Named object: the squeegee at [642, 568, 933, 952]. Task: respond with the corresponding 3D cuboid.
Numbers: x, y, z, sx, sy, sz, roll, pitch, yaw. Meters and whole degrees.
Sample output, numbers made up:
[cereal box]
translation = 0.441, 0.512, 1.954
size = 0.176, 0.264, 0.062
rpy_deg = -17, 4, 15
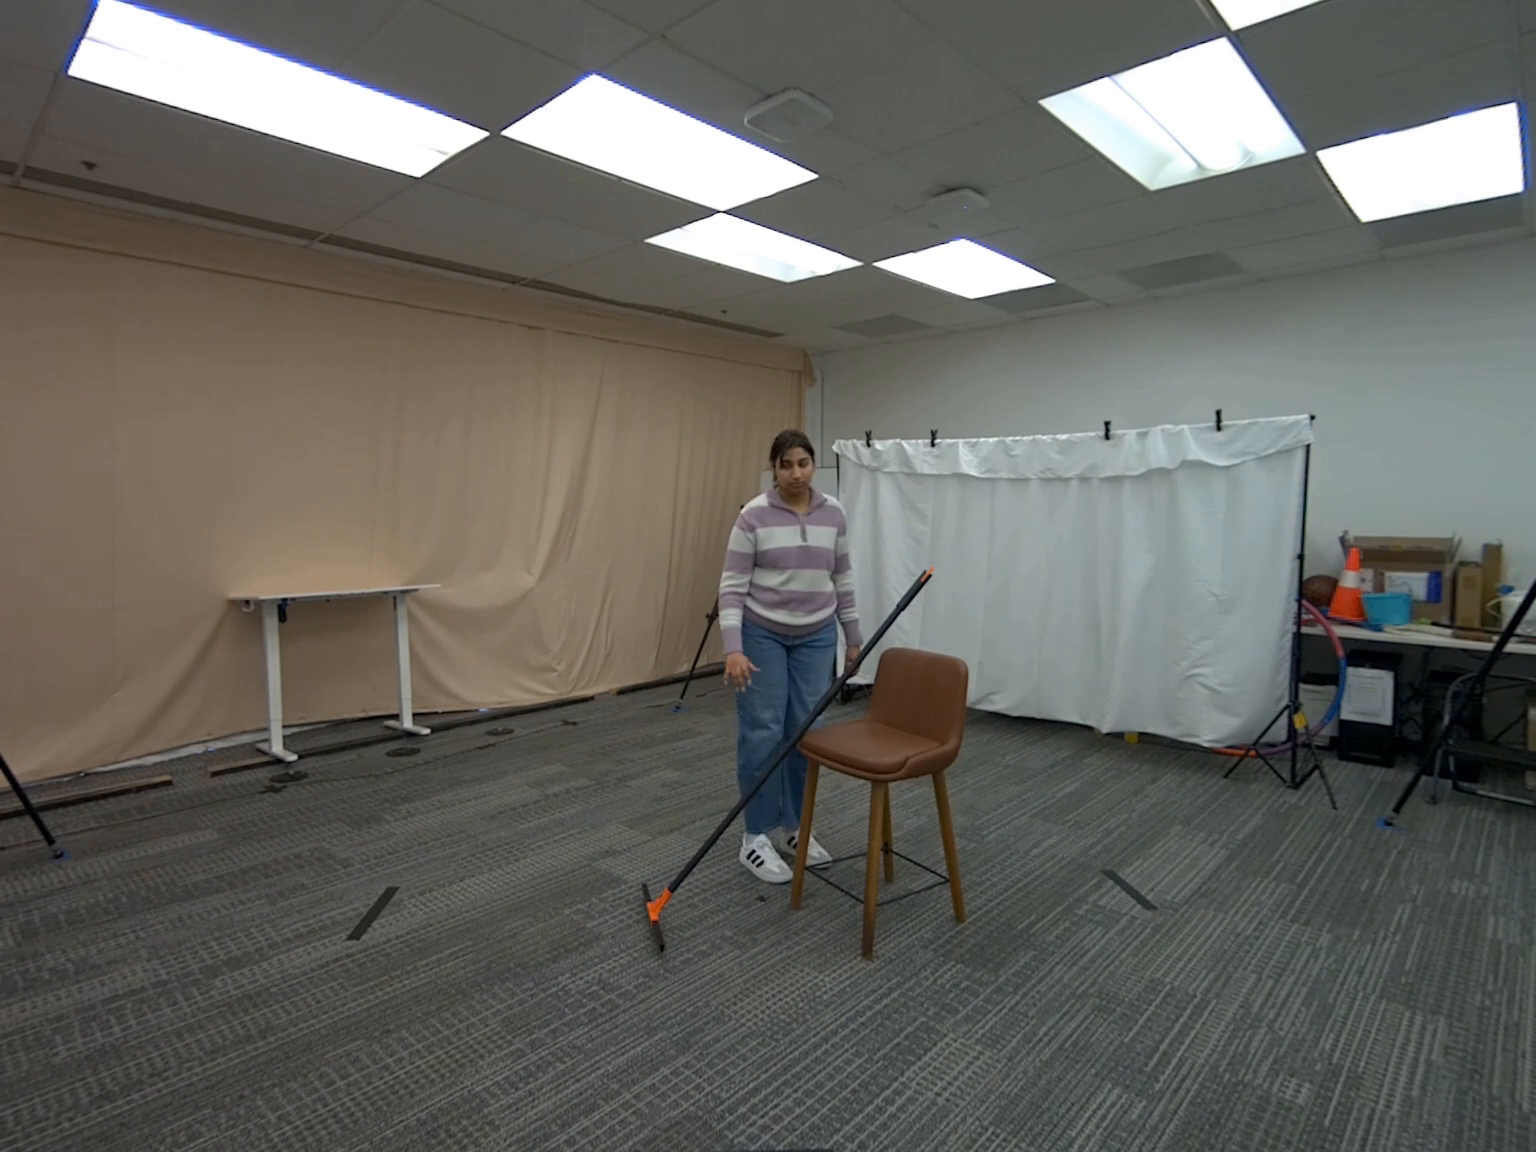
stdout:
[squeegee]
translation = 0.080, 0.555, 2.852
size = 0.052, 1.536, 0.446
rpy_deg = 42, -5, -16
